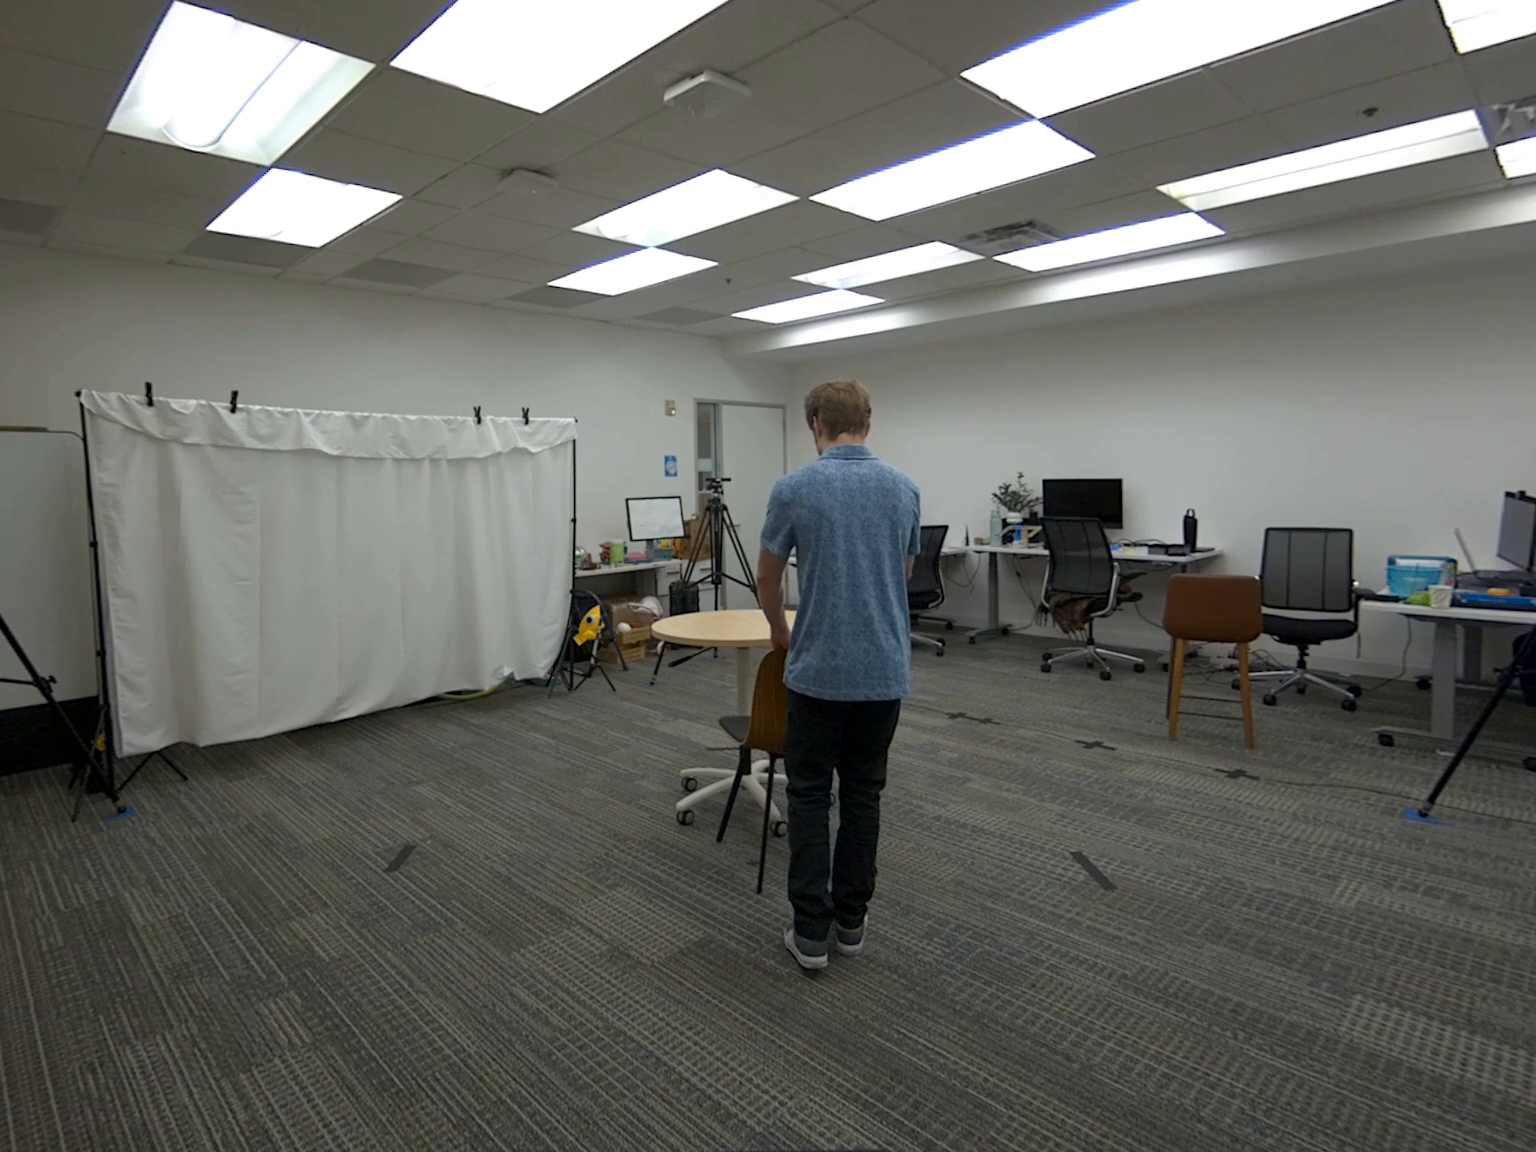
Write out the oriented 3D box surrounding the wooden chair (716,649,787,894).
[{"bbox_3d":[0.087,0.608,3.121,0.470,0.871,0.536,-3,9,-19],"label":"wooden chair"}]
